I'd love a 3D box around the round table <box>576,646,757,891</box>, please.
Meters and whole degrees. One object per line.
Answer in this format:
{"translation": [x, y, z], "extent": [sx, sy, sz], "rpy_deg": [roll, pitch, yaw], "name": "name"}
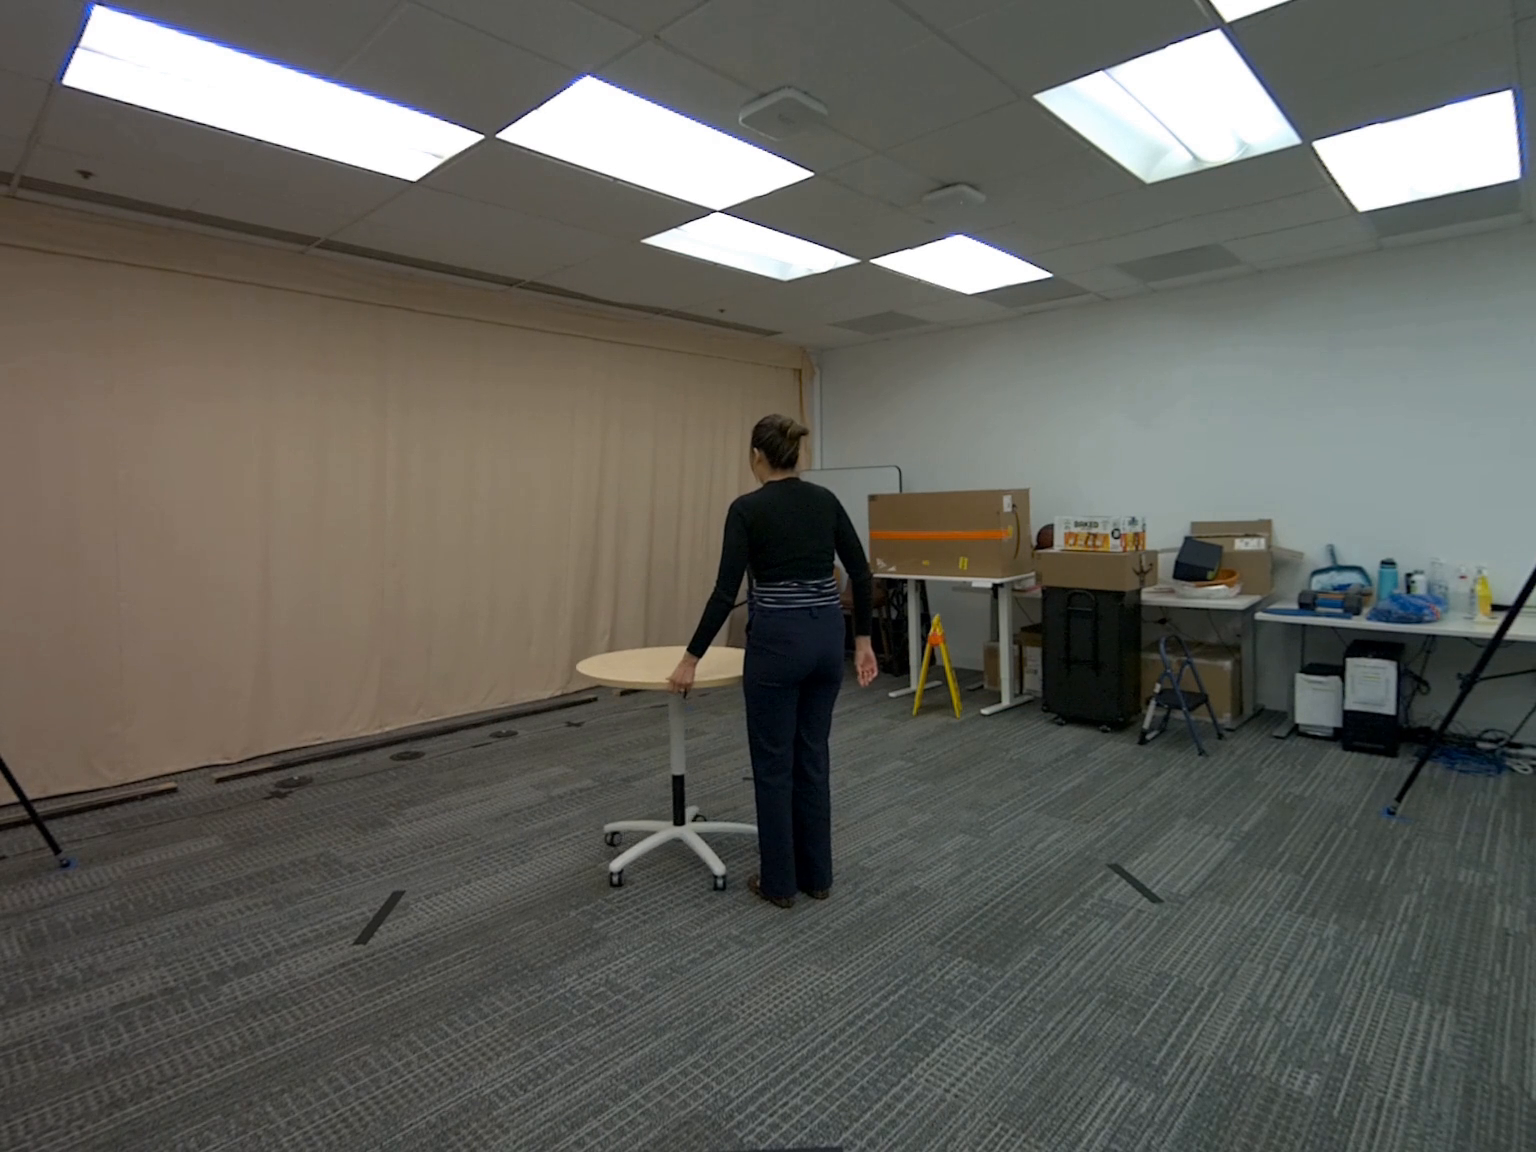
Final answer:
{"translation": [-0.352, 0.729, 3.306], "extent": [0.763, 0.792, 0.766], "rpy_deg": [-2, 3, -2], "name": "round table"}
